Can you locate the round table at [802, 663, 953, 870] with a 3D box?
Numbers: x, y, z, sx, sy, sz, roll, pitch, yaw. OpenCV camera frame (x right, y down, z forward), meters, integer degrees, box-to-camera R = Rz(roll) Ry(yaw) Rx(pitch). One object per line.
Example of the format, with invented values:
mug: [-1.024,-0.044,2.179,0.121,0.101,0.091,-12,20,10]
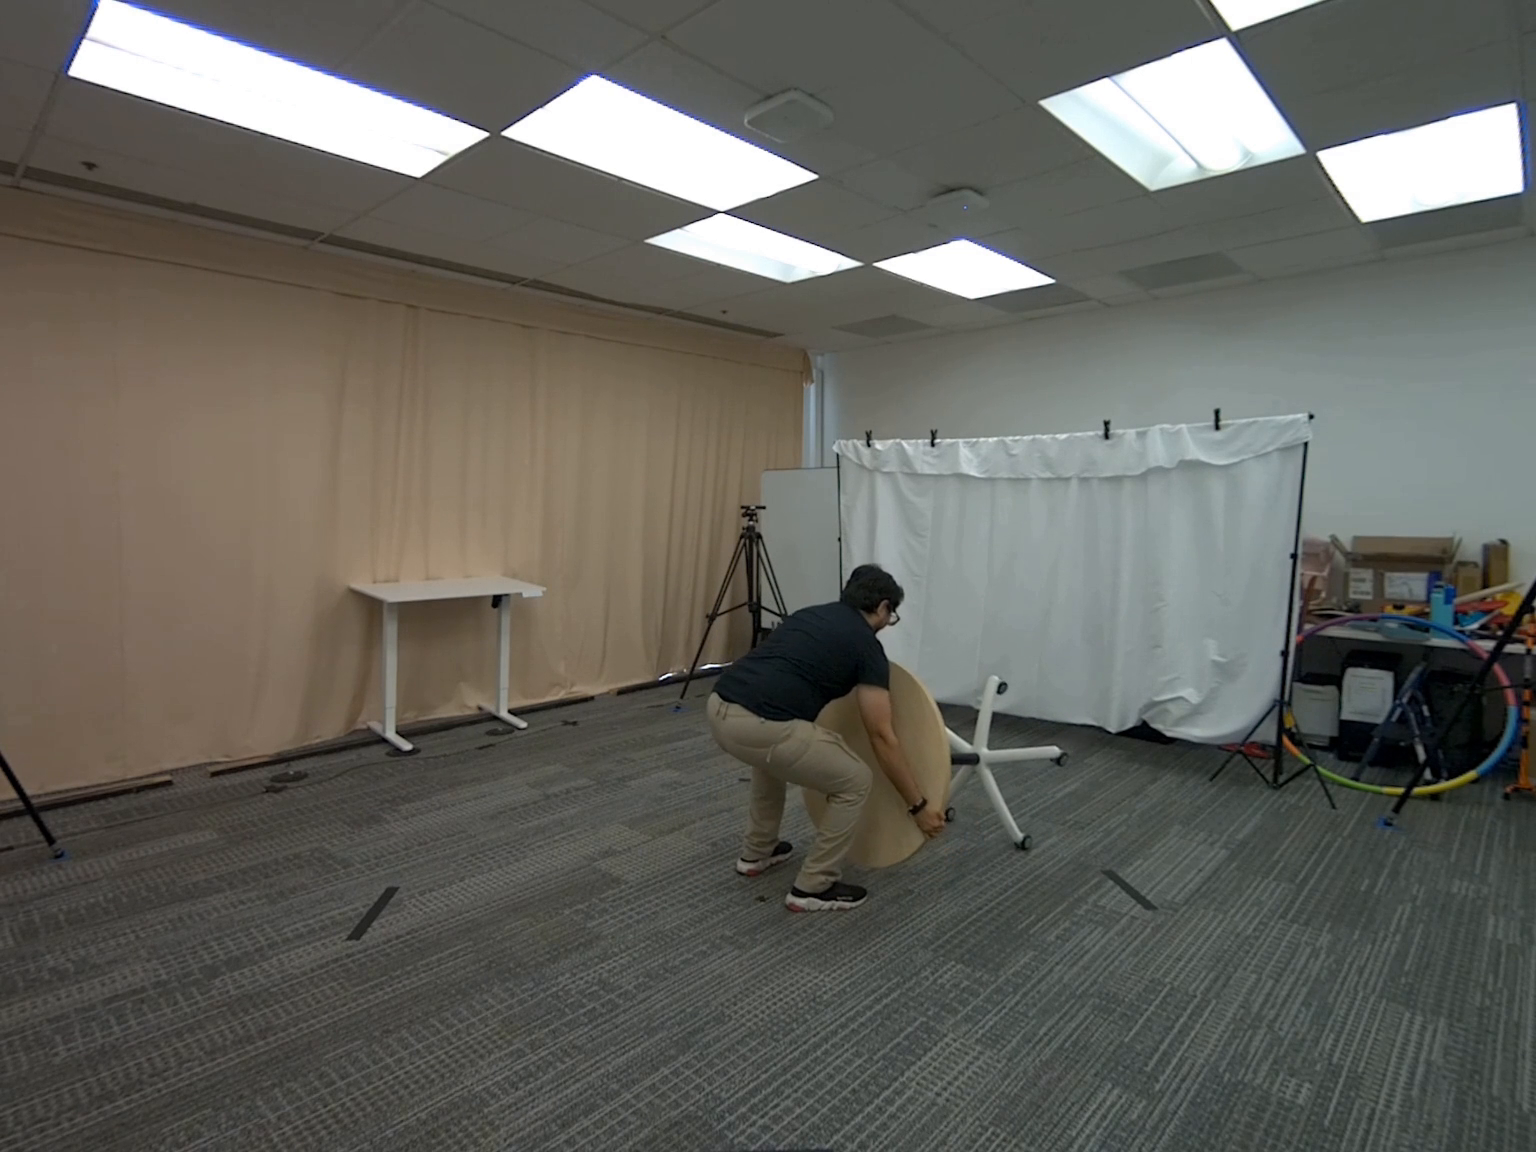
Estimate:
round table: [0.683,0.730,3.376,0.761,0.786,0.810,10,-3,-36]
